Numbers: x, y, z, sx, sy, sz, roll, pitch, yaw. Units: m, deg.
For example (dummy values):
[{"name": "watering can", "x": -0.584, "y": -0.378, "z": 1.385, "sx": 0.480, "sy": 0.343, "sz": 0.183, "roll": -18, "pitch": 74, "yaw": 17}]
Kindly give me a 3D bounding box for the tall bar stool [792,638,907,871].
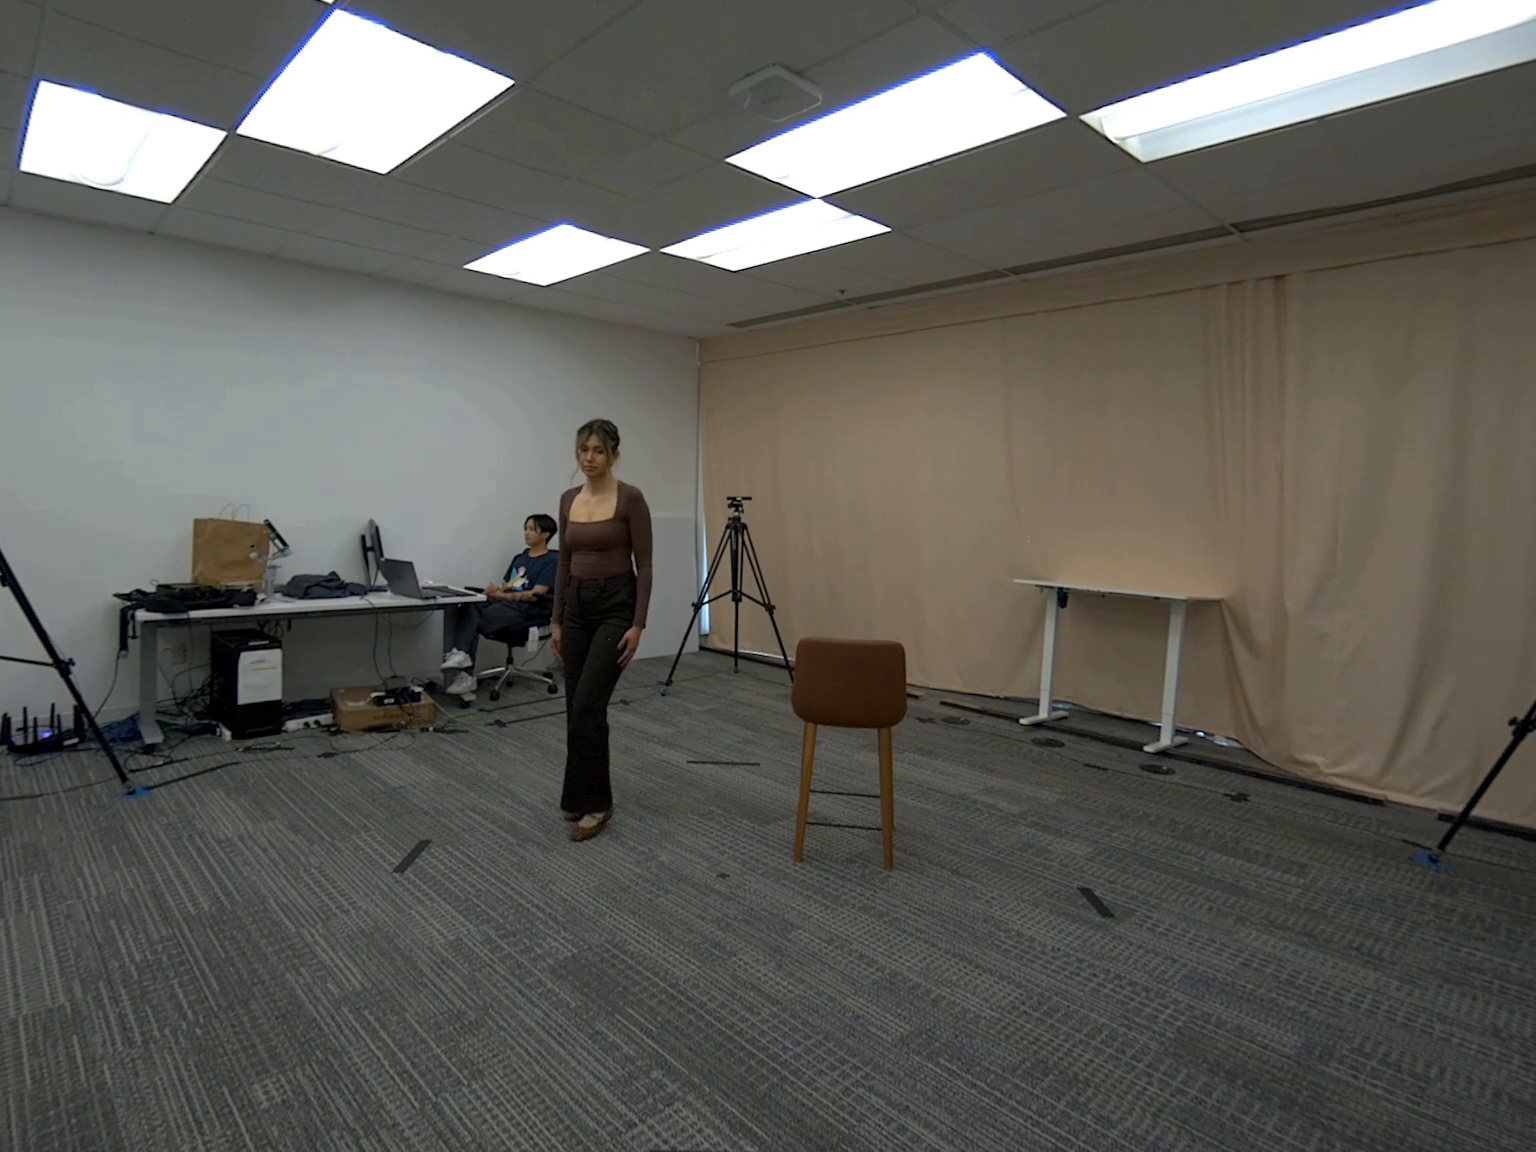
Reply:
[{"name": "tall bar stool", "x": 0.319, "y": 0.659, "z": 3.403, "sx": 0.460, "sy": 0.887, "sz": 0.465, "roll": 1, "pitch": 4, "yaw": 9}]
